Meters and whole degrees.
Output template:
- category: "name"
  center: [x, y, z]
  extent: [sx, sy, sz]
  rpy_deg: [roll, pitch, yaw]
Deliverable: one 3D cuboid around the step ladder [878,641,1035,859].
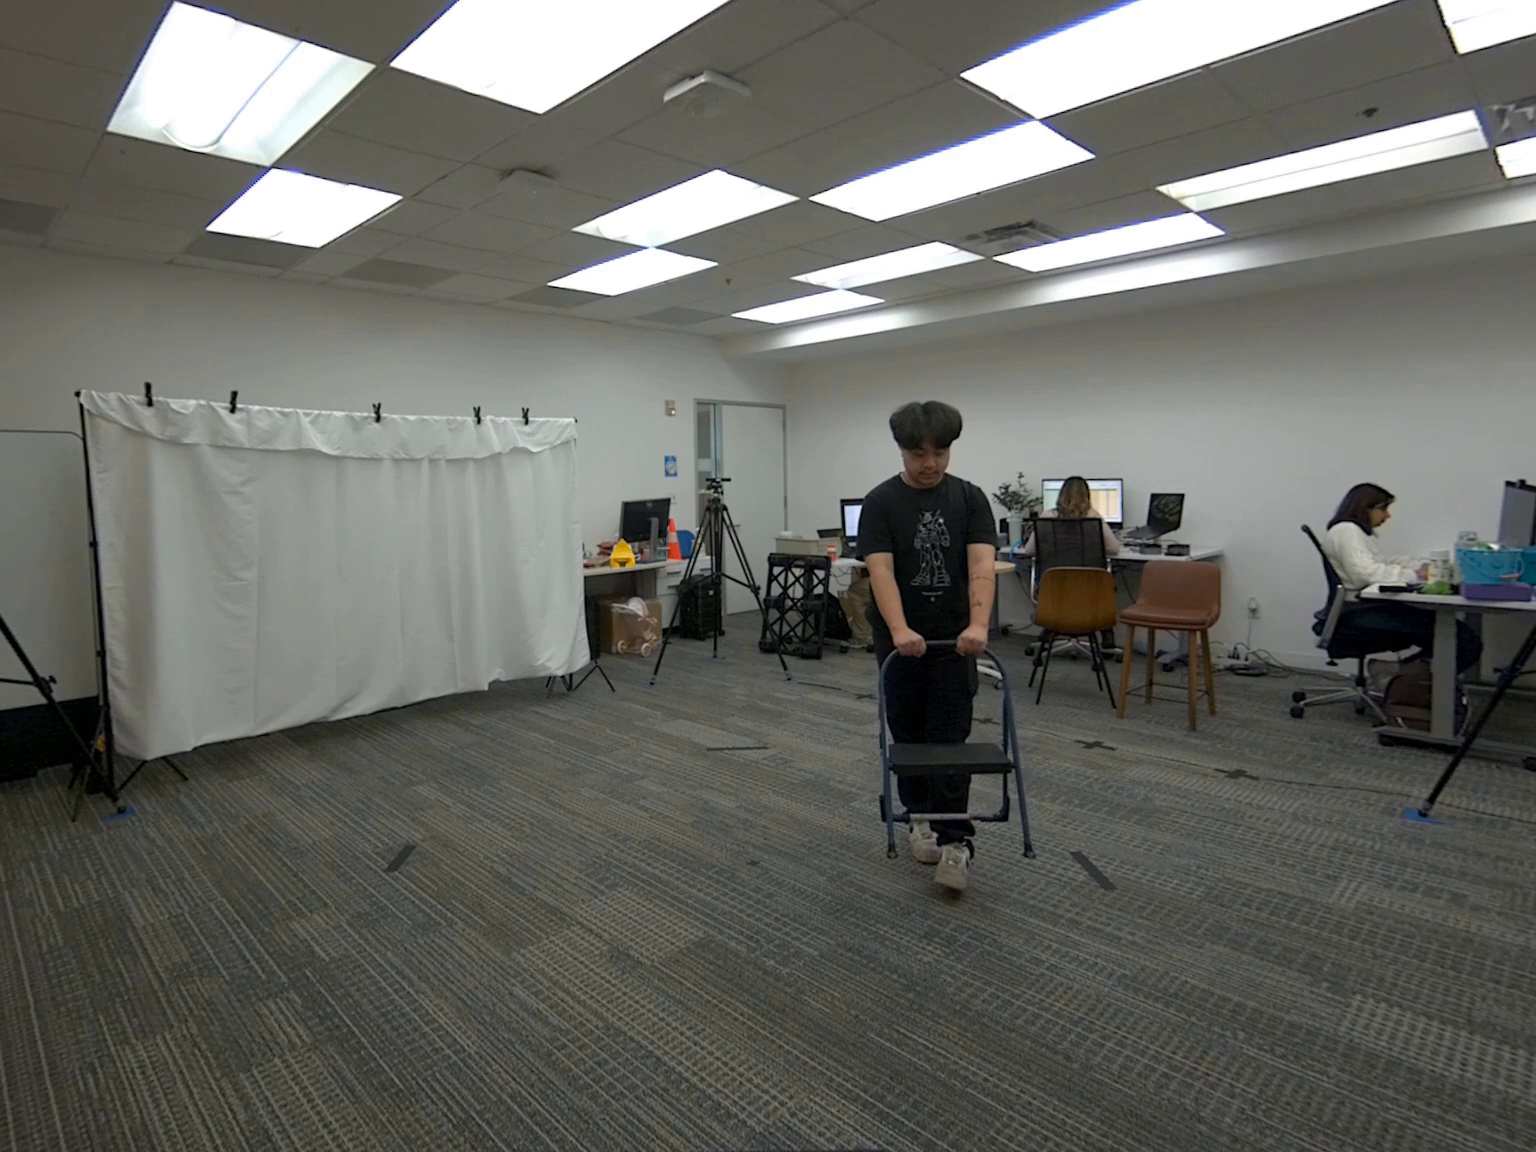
- category: "step ladder"
  center: [0.577, 0.528, 2.676]
  extent: [0.433, 0.607, 0.347]
  rpy_deg: [-1, -1, 4]
